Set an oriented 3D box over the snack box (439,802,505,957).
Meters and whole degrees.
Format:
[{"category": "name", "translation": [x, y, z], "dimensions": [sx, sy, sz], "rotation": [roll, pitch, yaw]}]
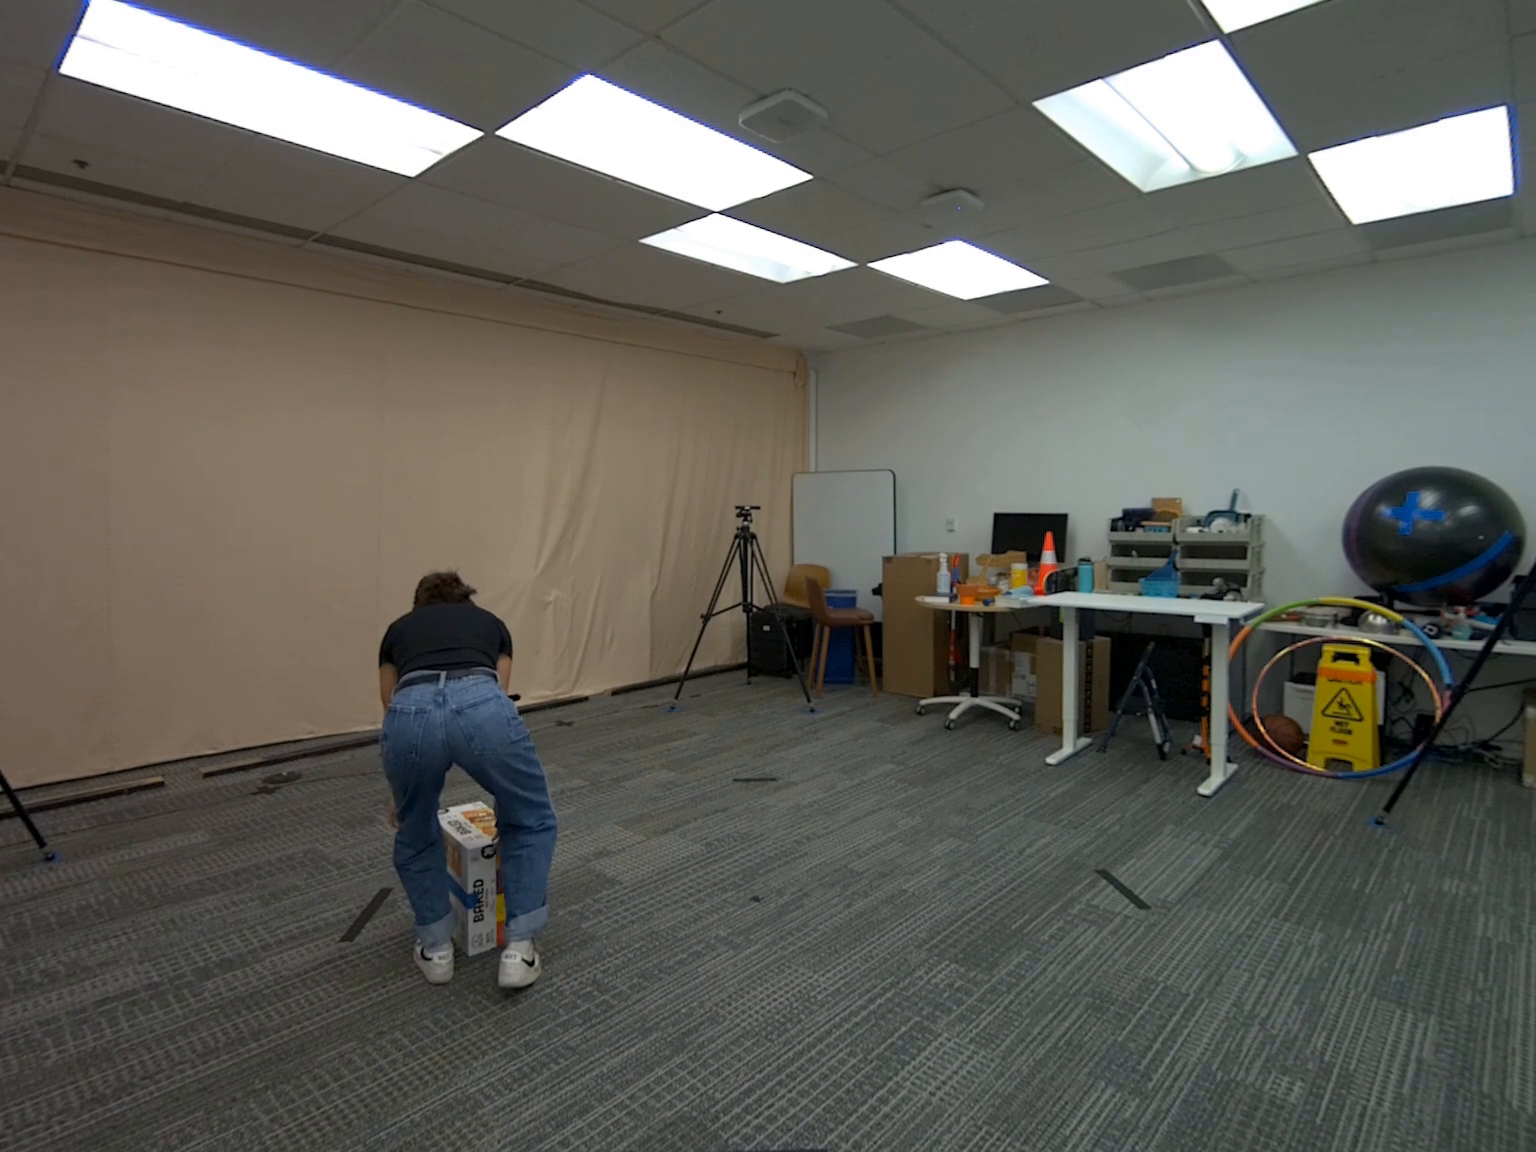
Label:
[{"category": "snack box", "translation": [-0.983, 0.997, 2.818], "dimensions": [0.199, 0.340, 0.418], "rotation": [-1, 3, -39]}]
